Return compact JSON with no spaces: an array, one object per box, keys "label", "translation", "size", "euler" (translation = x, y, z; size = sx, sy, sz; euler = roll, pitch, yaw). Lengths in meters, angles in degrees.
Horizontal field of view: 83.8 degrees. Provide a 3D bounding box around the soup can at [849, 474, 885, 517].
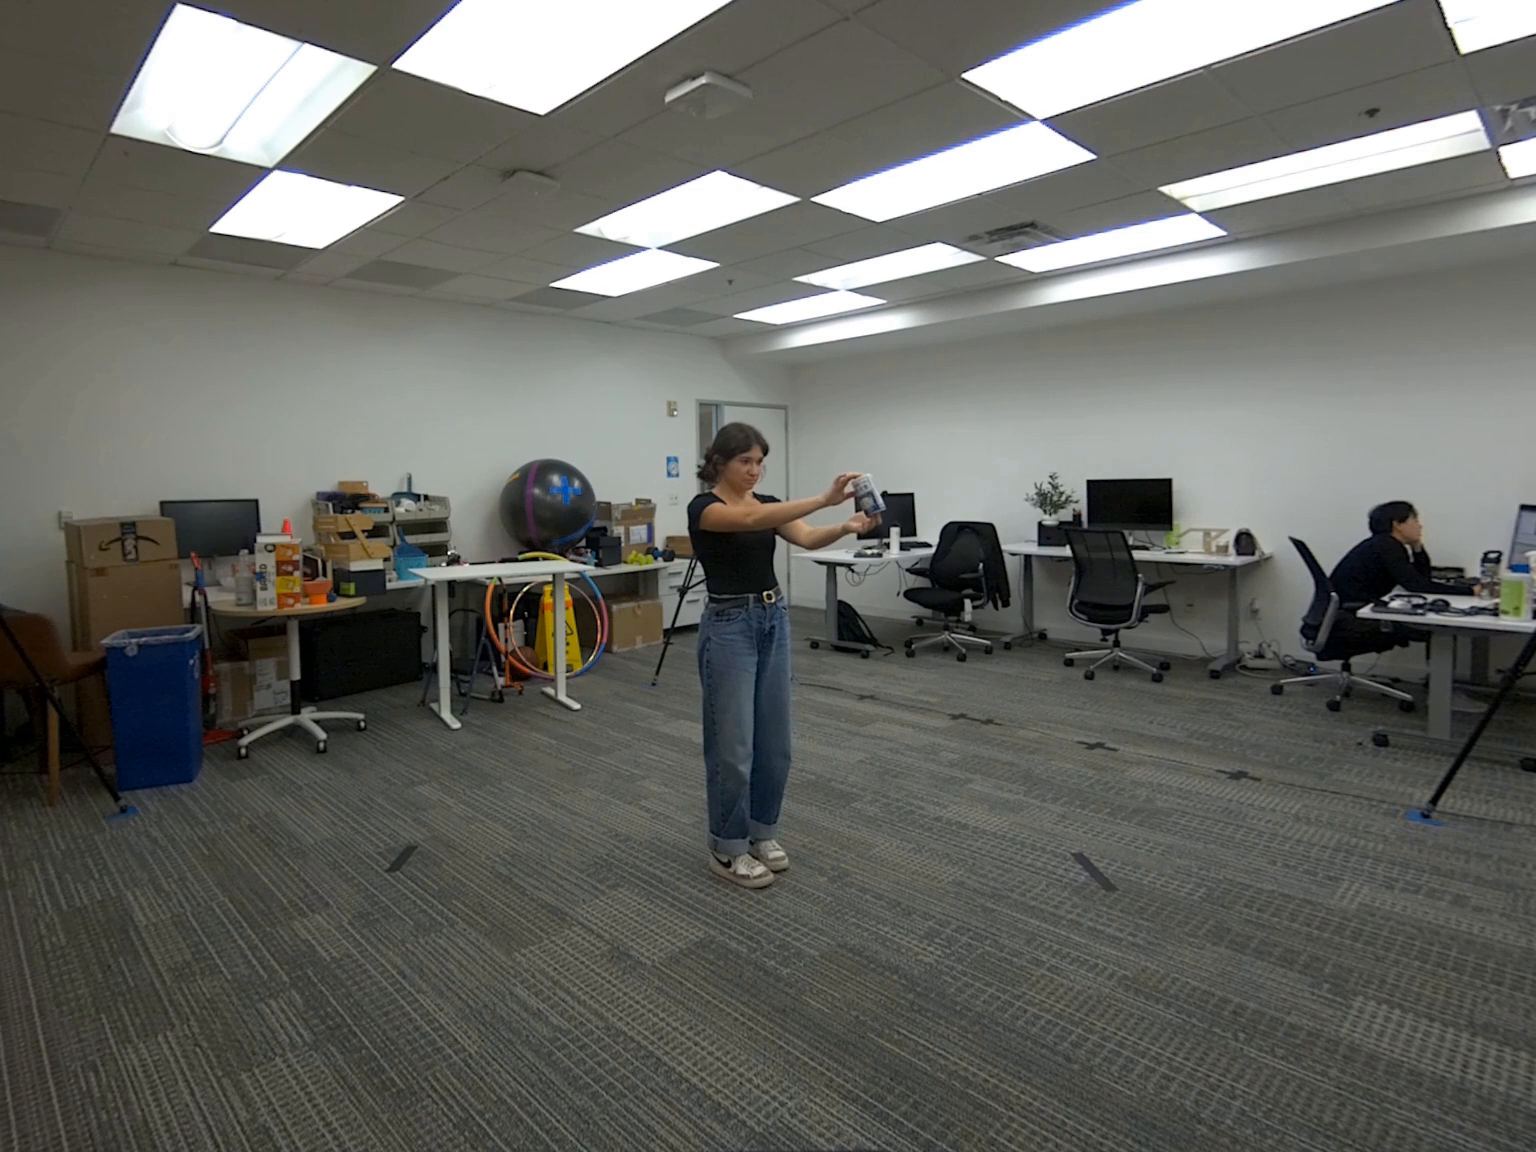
[{"label":"soup can","translation":[0.308,-0.243,2.600],"size":[0.067,0.121,0.067],"euler":[-18,2,-1]}]
